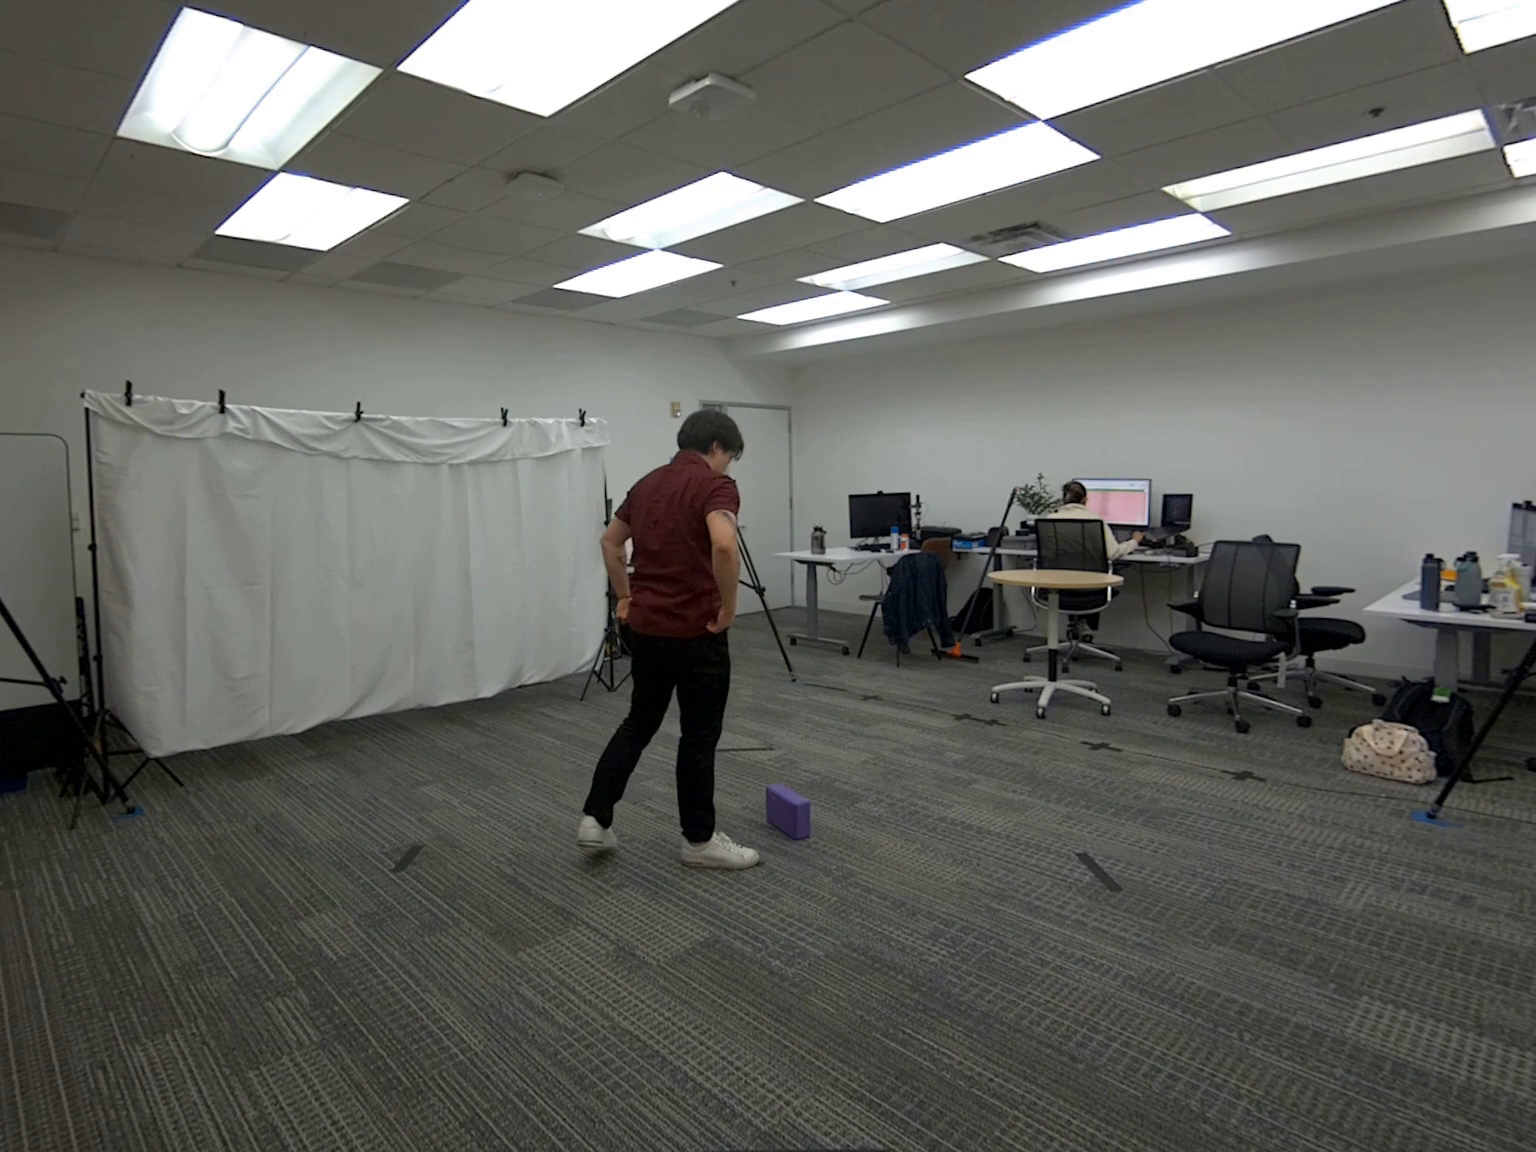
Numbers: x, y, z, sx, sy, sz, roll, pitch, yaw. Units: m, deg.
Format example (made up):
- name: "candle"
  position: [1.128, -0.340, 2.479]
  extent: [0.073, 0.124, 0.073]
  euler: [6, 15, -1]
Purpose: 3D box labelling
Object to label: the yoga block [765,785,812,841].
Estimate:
- name: "yoga block"
  position: [0.080, 0.936, 3.406]
  extent: [0.075, 0.148, 0.235]
  euler: [-2, 5, -29]
